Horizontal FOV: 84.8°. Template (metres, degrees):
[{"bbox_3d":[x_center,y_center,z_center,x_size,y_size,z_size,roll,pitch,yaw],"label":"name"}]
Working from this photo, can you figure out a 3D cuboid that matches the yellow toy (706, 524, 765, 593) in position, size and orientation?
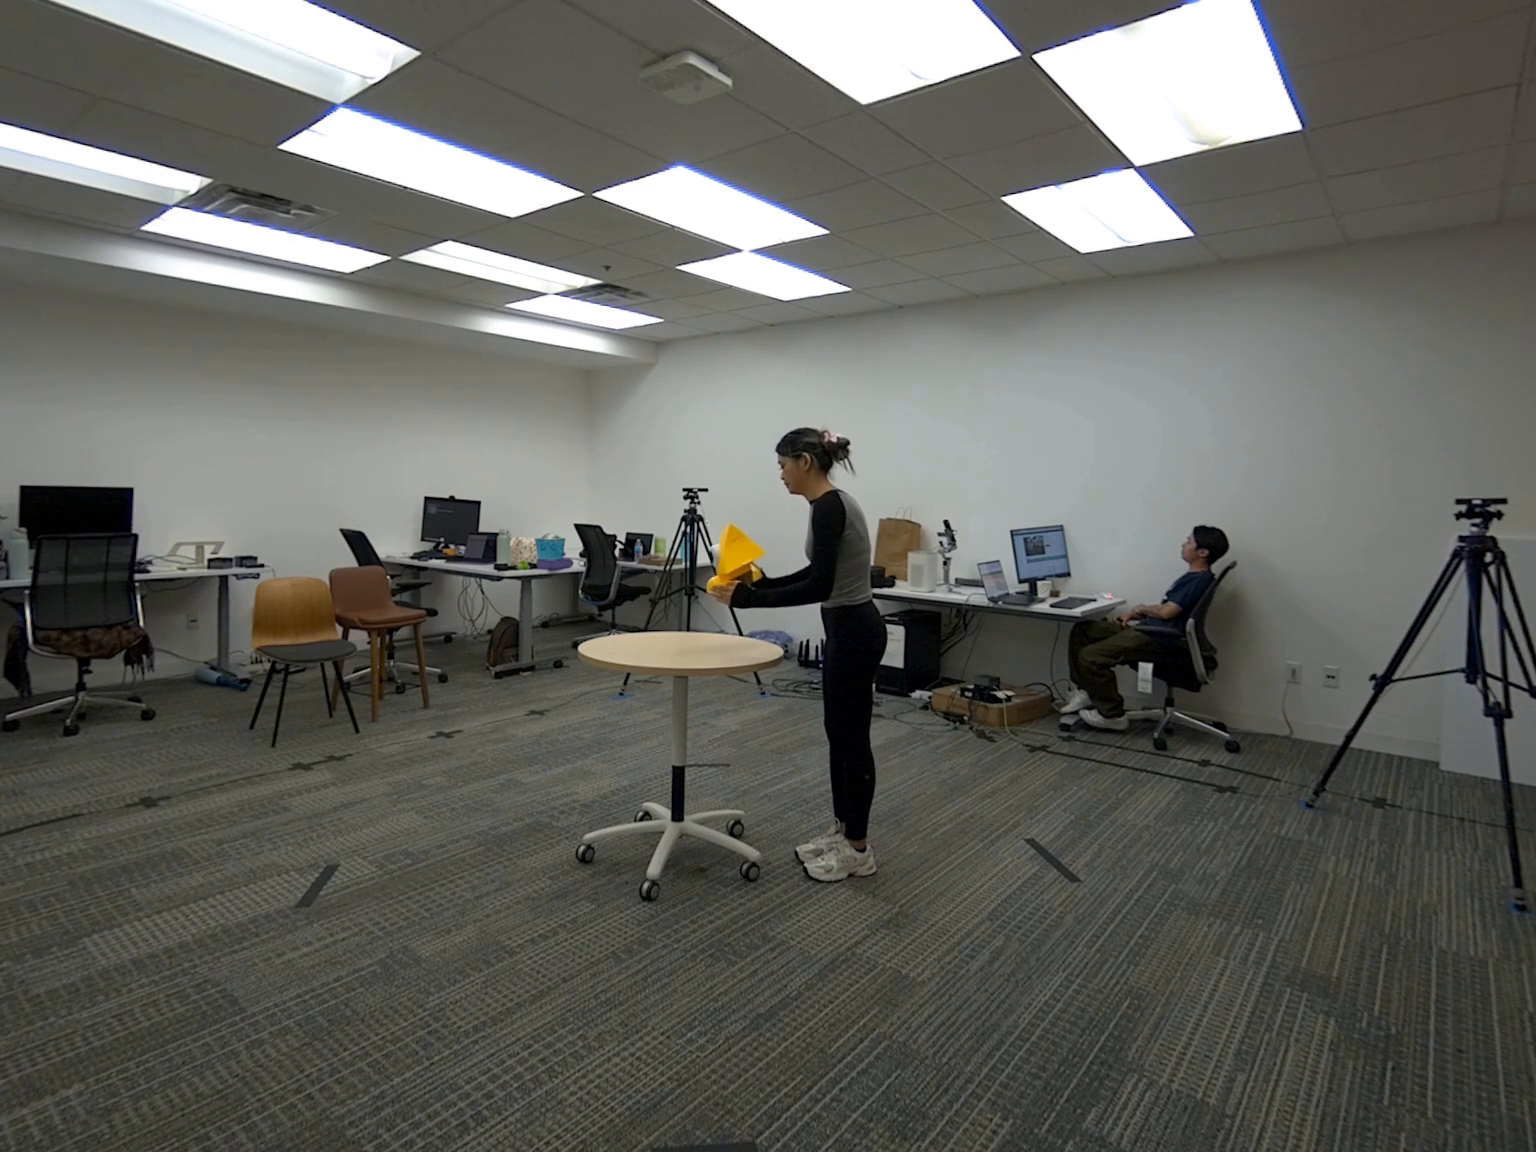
[{"bbox_3d":[-0.153,-0.082,3.060,0.201,0.228,0.199,-24,13,-40],"label":"yellow toy"}]
